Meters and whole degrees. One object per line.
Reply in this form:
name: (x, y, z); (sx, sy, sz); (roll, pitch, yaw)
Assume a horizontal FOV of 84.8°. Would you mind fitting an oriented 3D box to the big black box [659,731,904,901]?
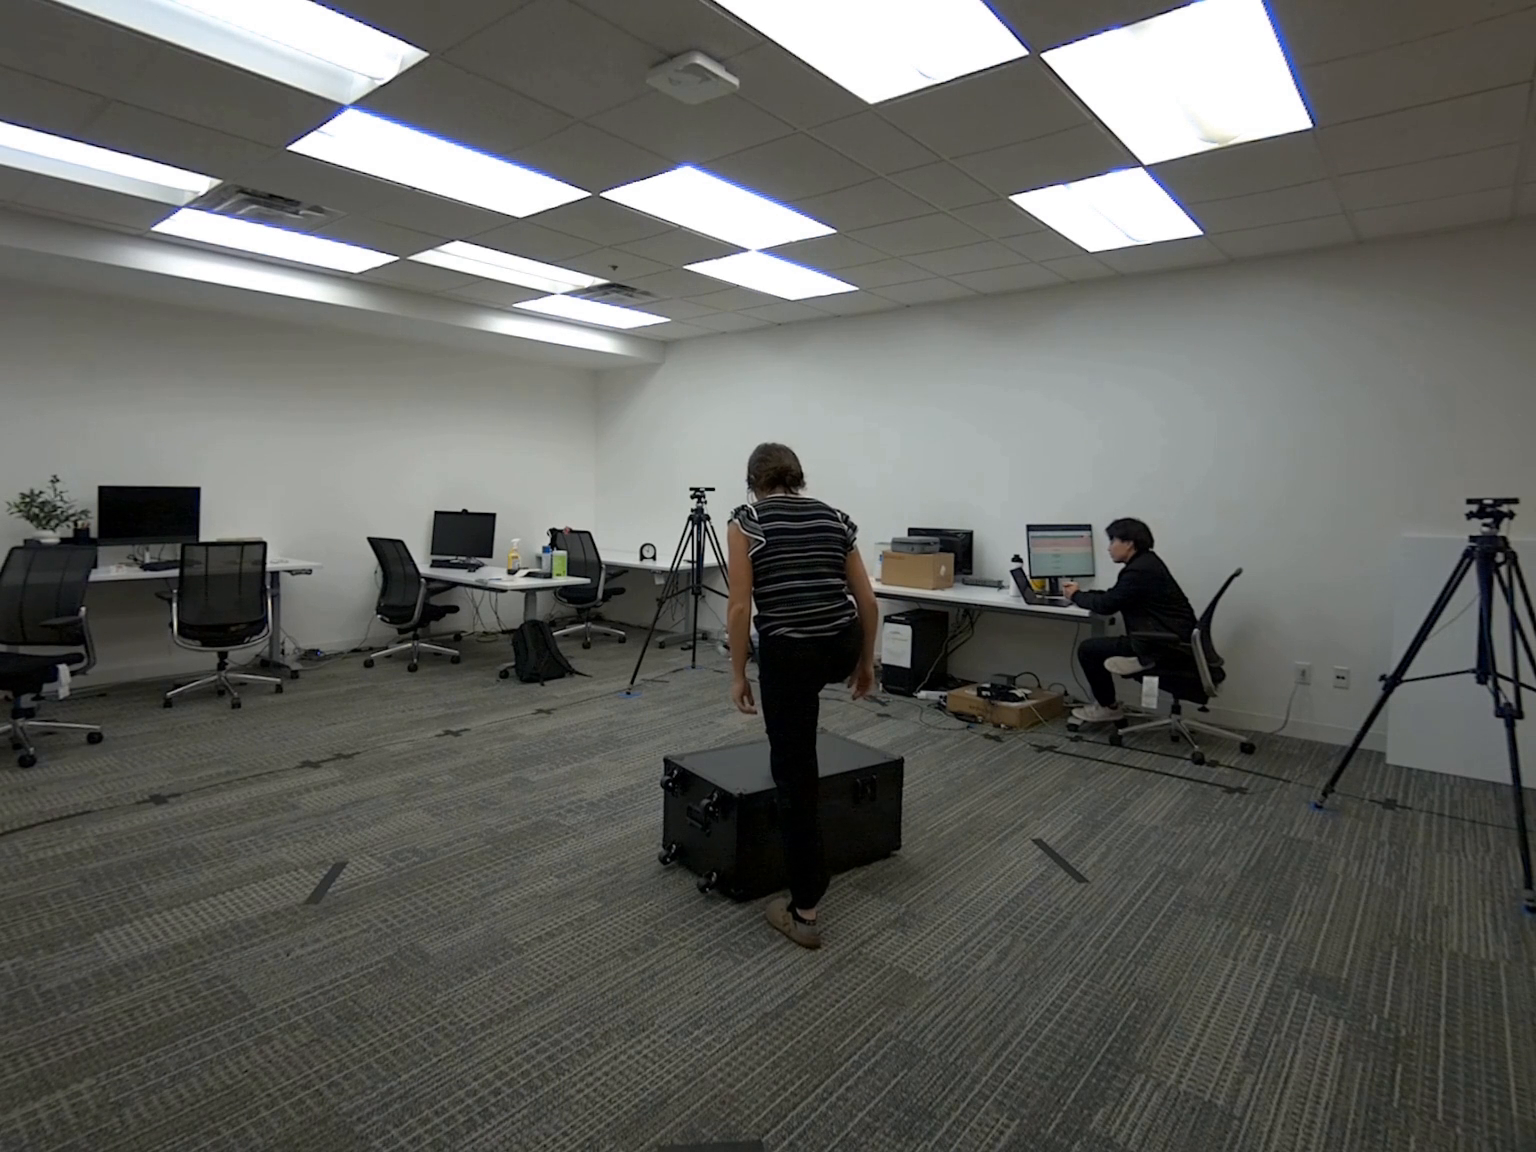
big black box: (0.024, 0.872, 3.212); (0.836, 0.395, 0.538); (-2, 6, -36)
